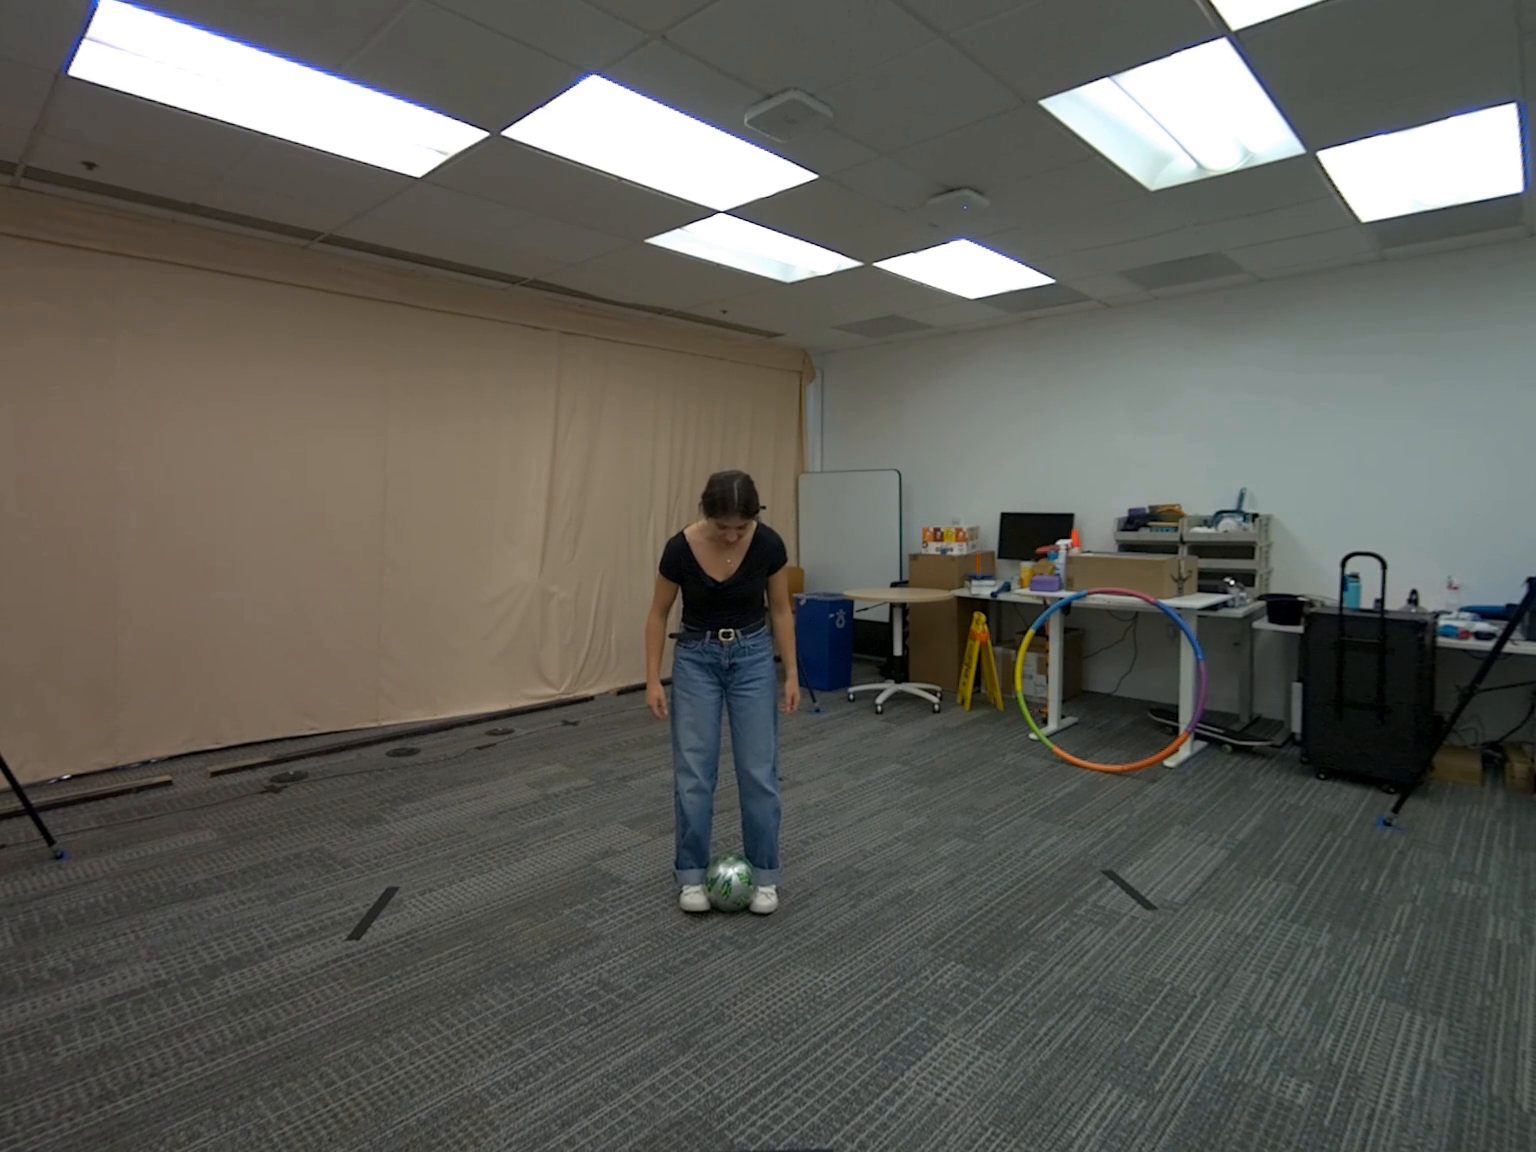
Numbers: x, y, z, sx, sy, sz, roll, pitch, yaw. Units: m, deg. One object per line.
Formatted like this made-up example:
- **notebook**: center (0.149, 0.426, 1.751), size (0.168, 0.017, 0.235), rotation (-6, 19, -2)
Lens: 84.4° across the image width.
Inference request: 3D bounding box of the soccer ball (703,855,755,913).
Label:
- **soccer ball**: center (-0.117, 1.060, 2.891), size (0.187, 0.187, 0.188), rotation (0, 4, -2)
